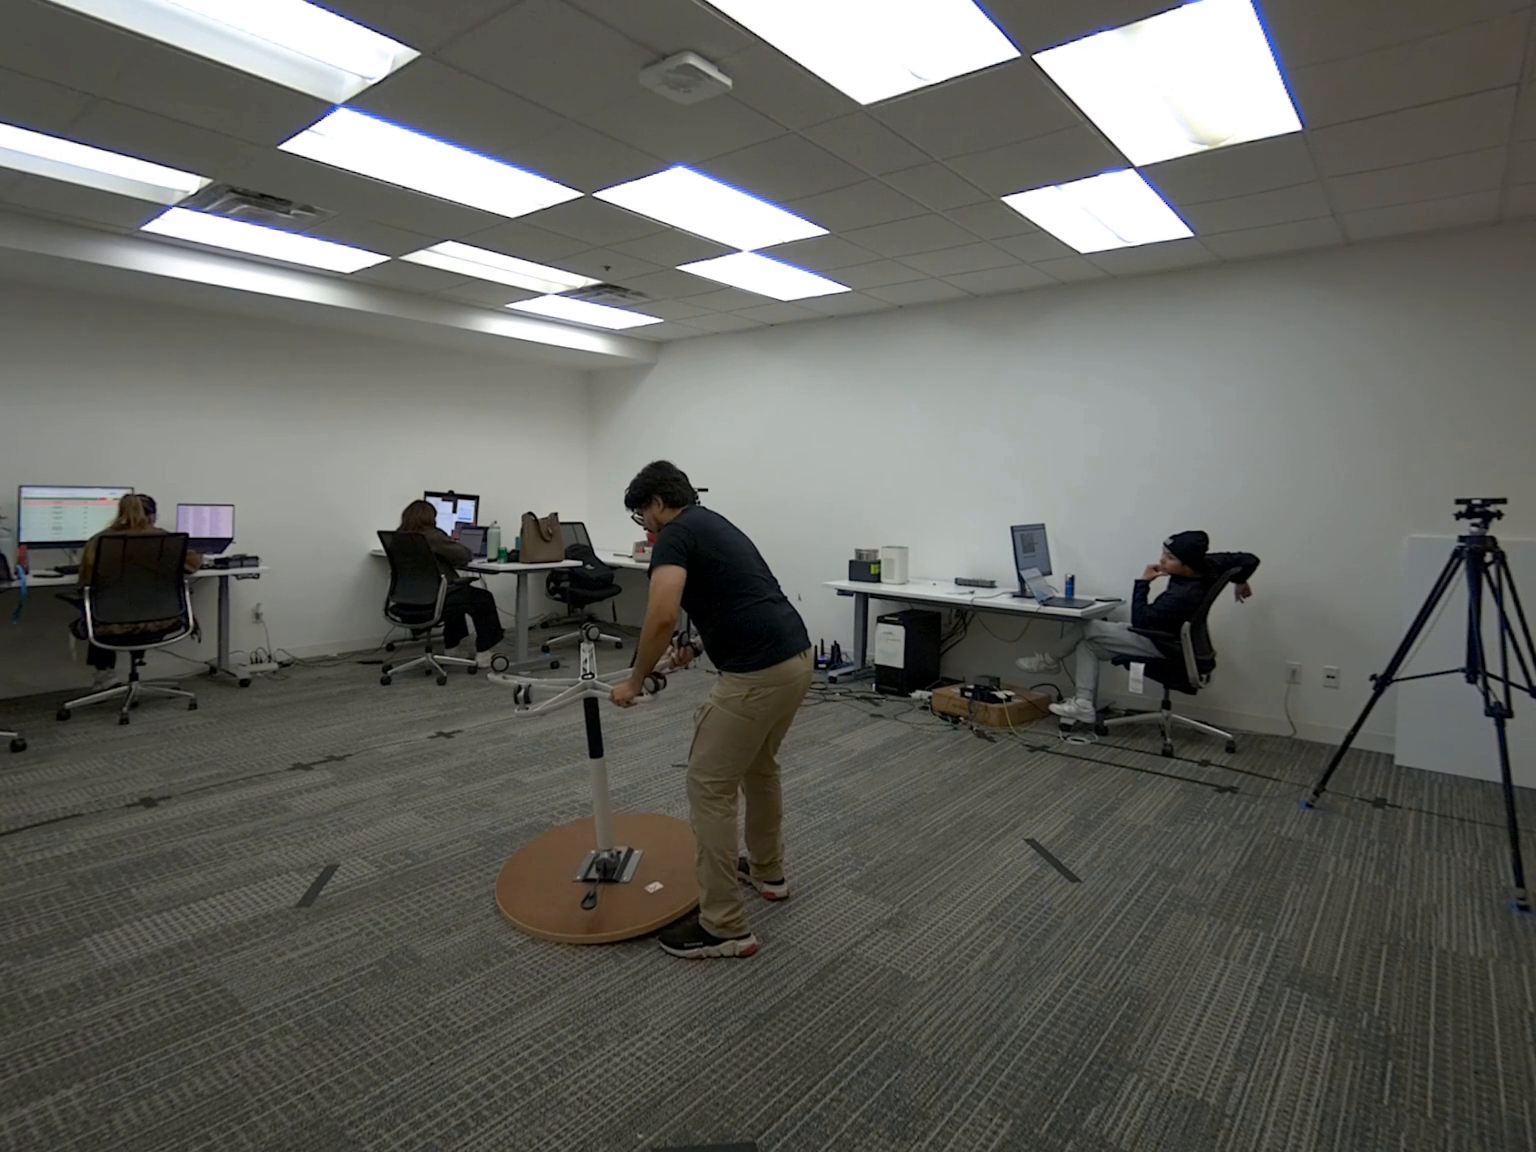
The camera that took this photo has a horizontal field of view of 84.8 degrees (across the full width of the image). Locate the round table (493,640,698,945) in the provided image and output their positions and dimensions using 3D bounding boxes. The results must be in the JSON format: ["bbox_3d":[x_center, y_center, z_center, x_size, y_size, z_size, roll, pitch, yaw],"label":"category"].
[{"bbox_3d":[-0.596,0.640,2.892,0.785,0.779,0.793,-3,10,-1],"label":"round table"}]
